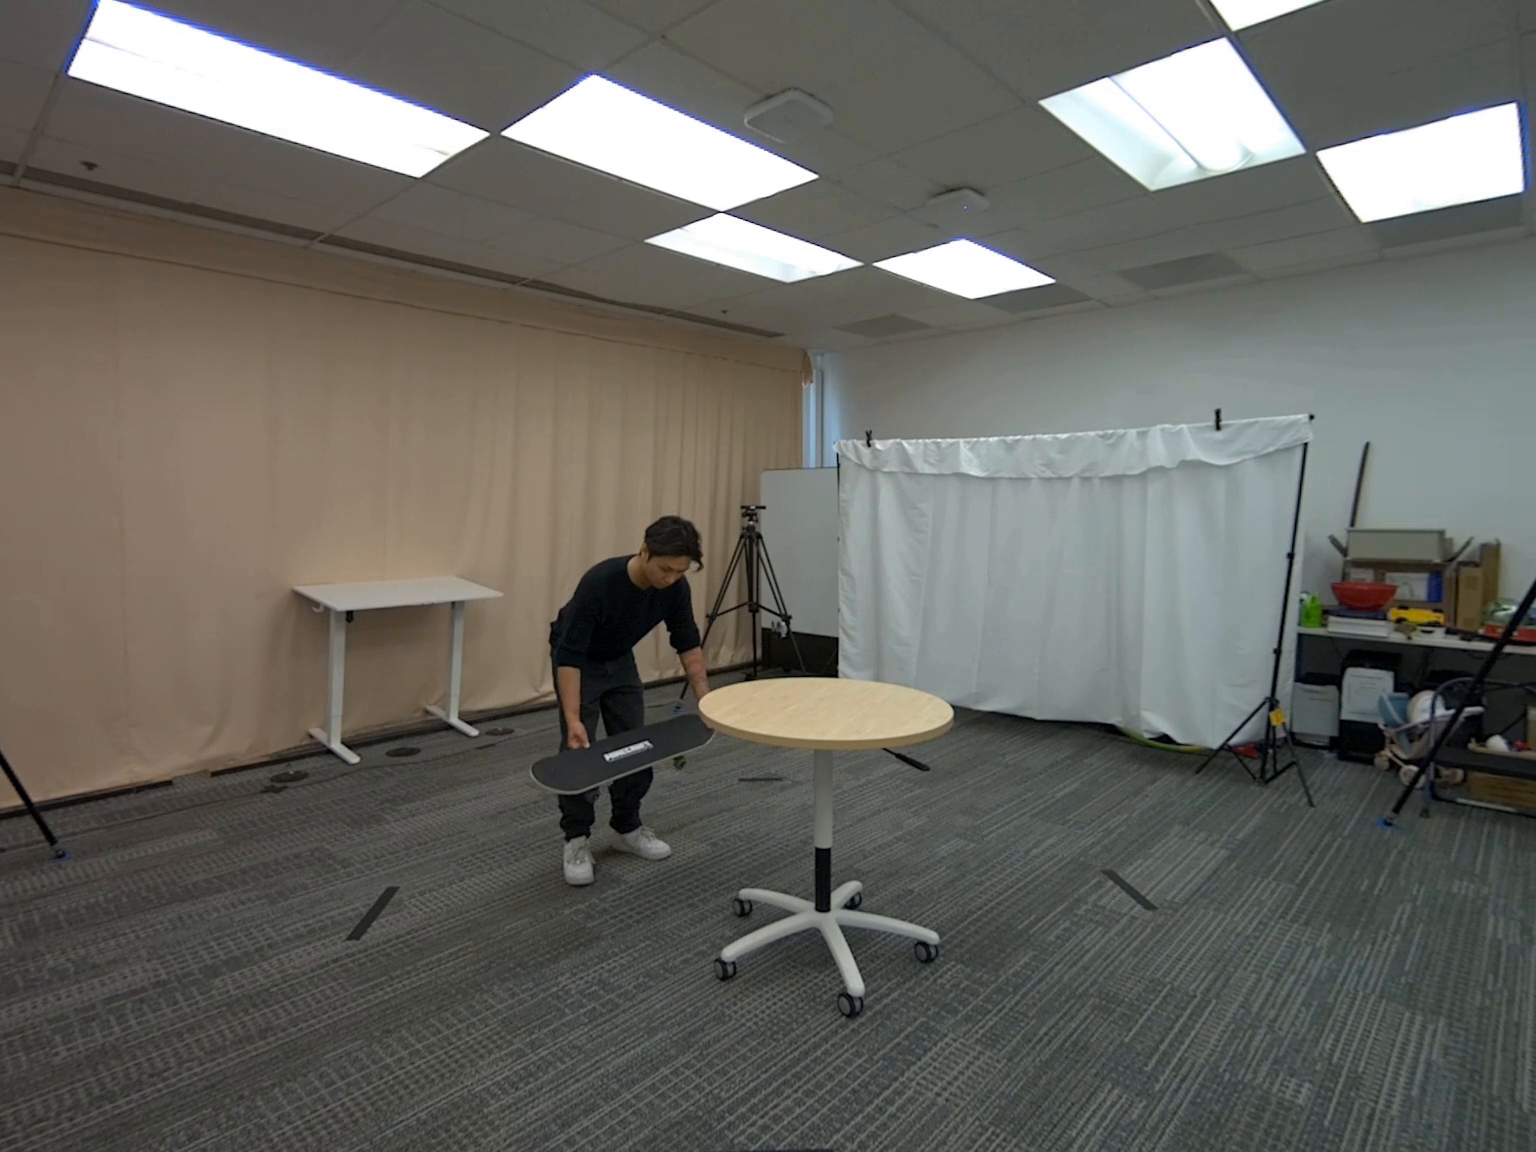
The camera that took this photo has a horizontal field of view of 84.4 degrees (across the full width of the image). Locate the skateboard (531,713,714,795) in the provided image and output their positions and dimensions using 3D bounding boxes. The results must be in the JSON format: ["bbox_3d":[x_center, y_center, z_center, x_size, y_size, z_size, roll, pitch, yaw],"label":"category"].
[{"bbox_3d":[-0.496,0.659,3.001,0.200,0.109,0.763,31,28,36],"label":"skateboard"}]
